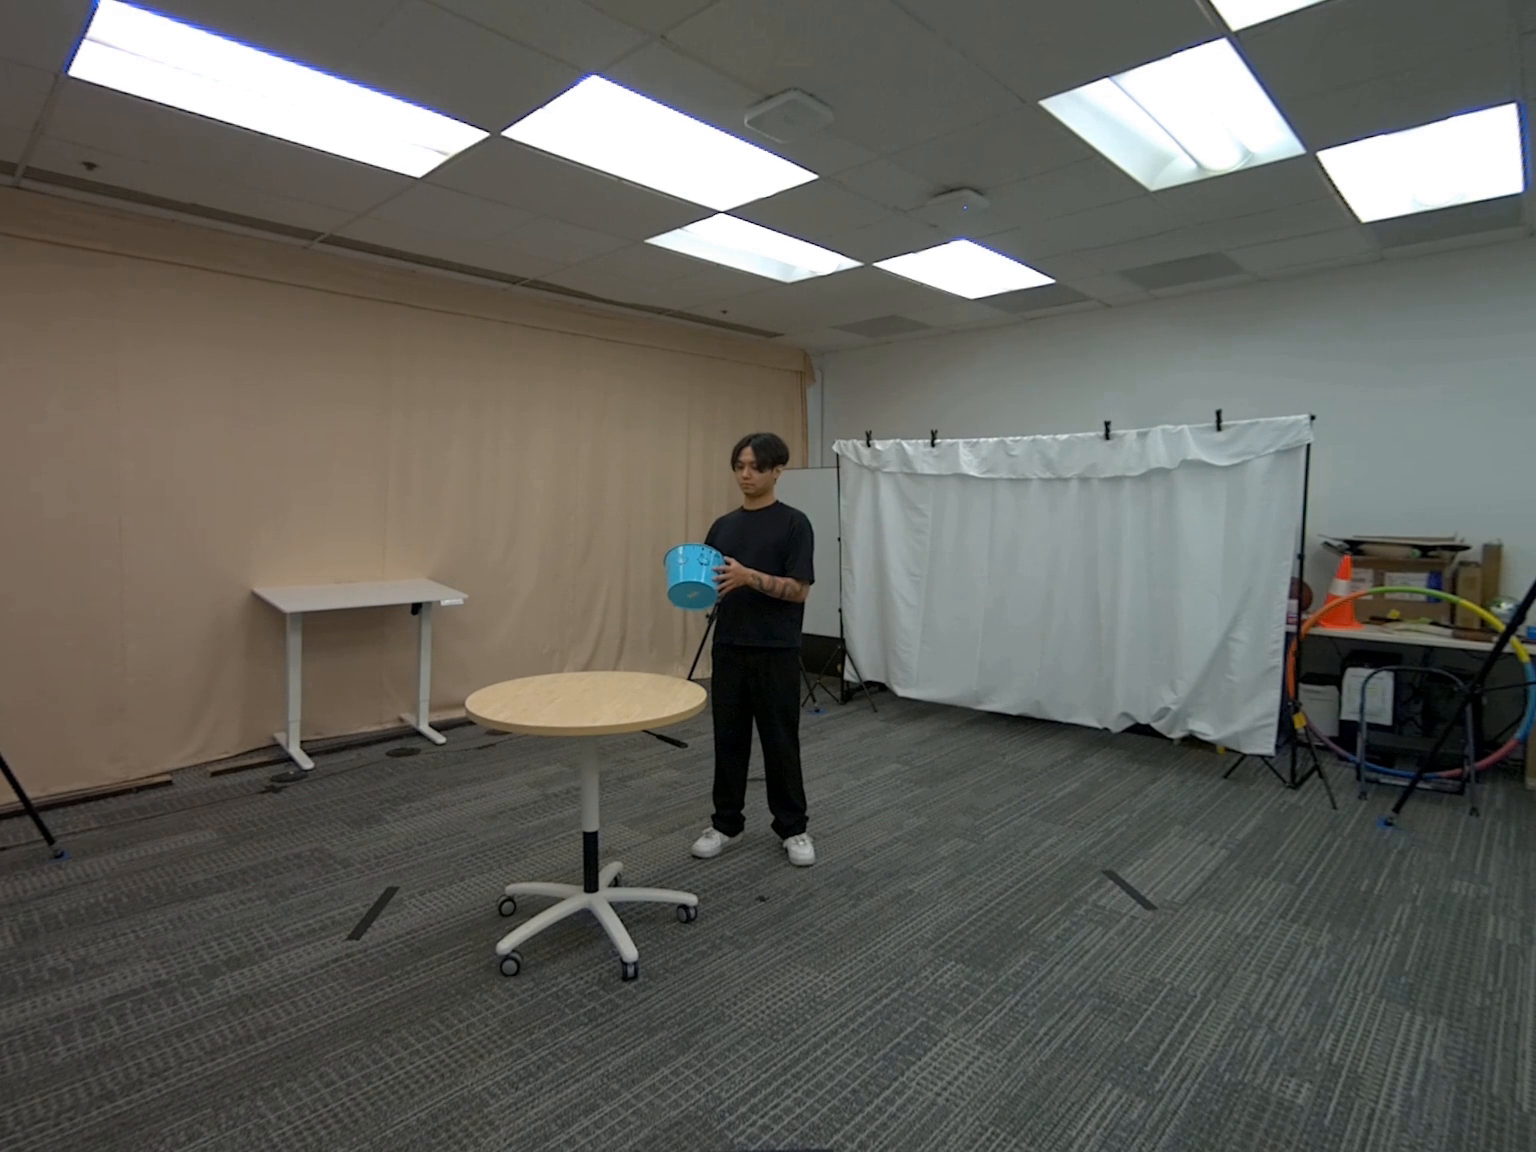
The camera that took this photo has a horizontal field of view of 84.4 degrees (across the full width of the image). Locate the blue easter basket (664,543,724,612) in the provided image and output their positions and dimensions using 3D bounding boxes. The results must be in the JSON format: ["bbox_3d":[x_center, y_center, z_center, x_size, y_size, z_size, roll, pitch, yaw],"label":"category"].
[{"bbox_3d":[-0.274,0.010,3.096,0.243,0.159,0.239,1,-39,-1],"label":"blue easter basket"}]
